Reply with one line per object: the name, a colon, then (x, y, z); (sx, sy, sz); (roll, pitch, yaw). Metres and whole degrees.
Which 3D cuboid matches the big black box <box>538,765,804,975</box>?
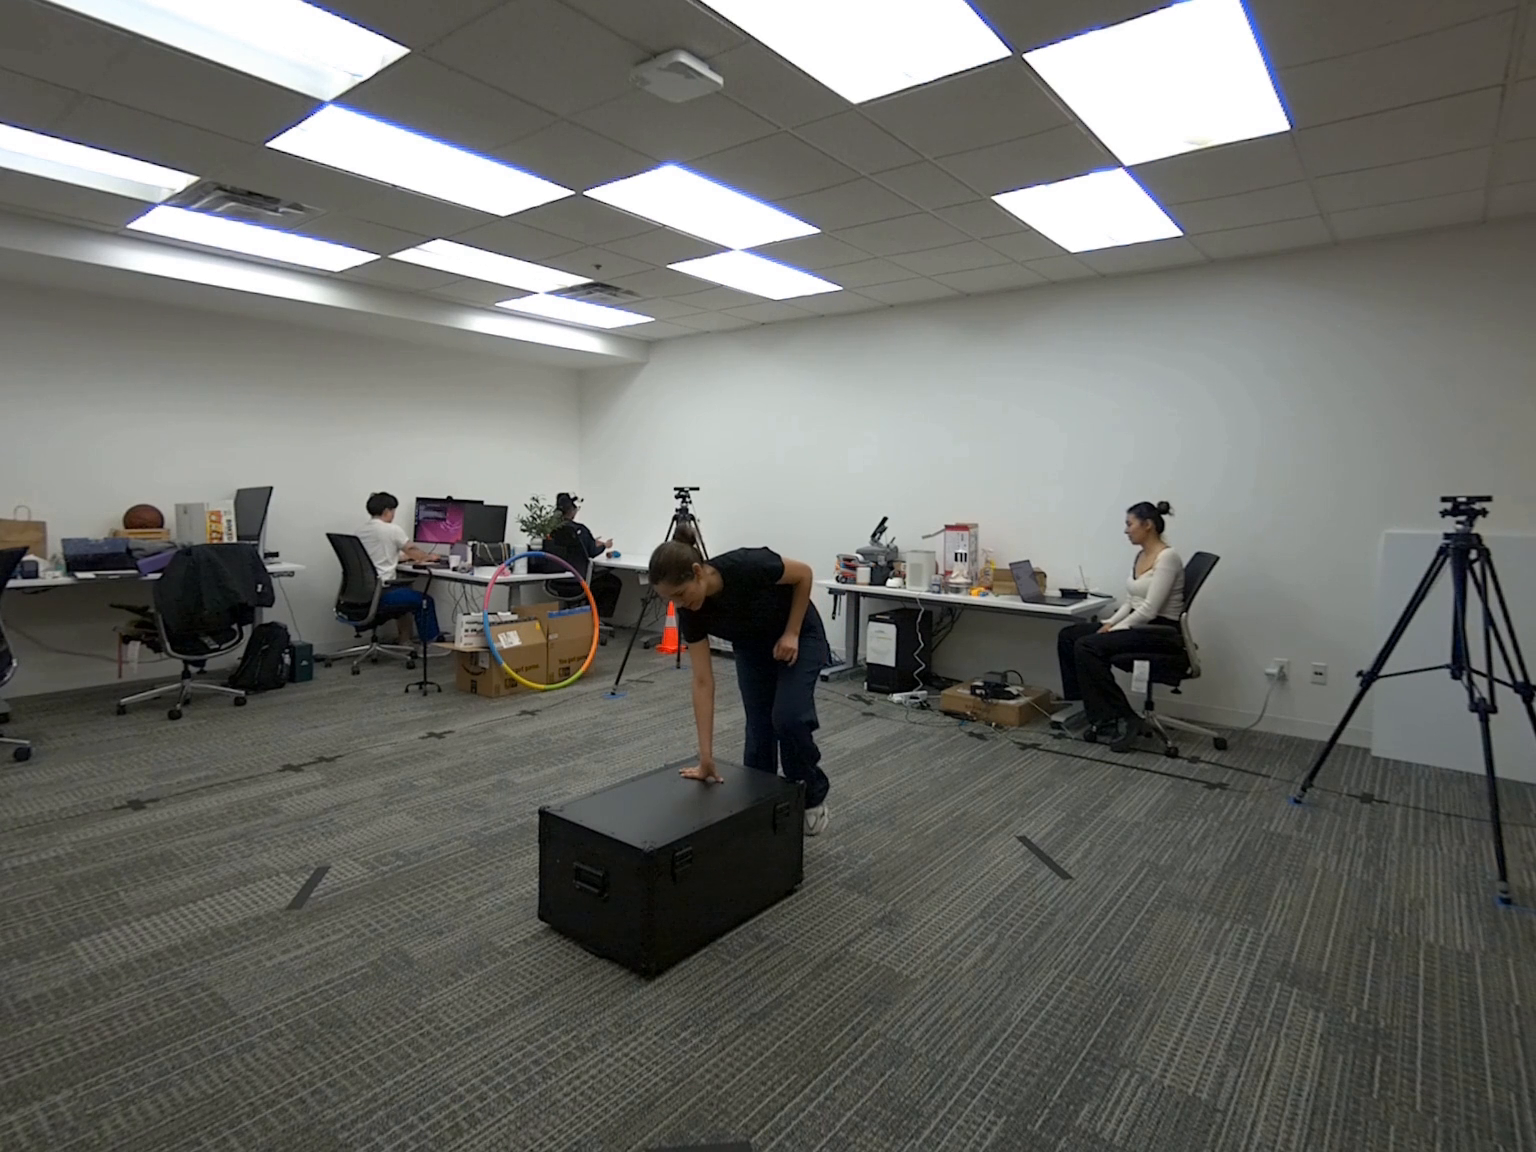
big black box: (-0.269, 0.885, 2.847); (0.539, 0.395, 0.836); (5, 5, 38)
